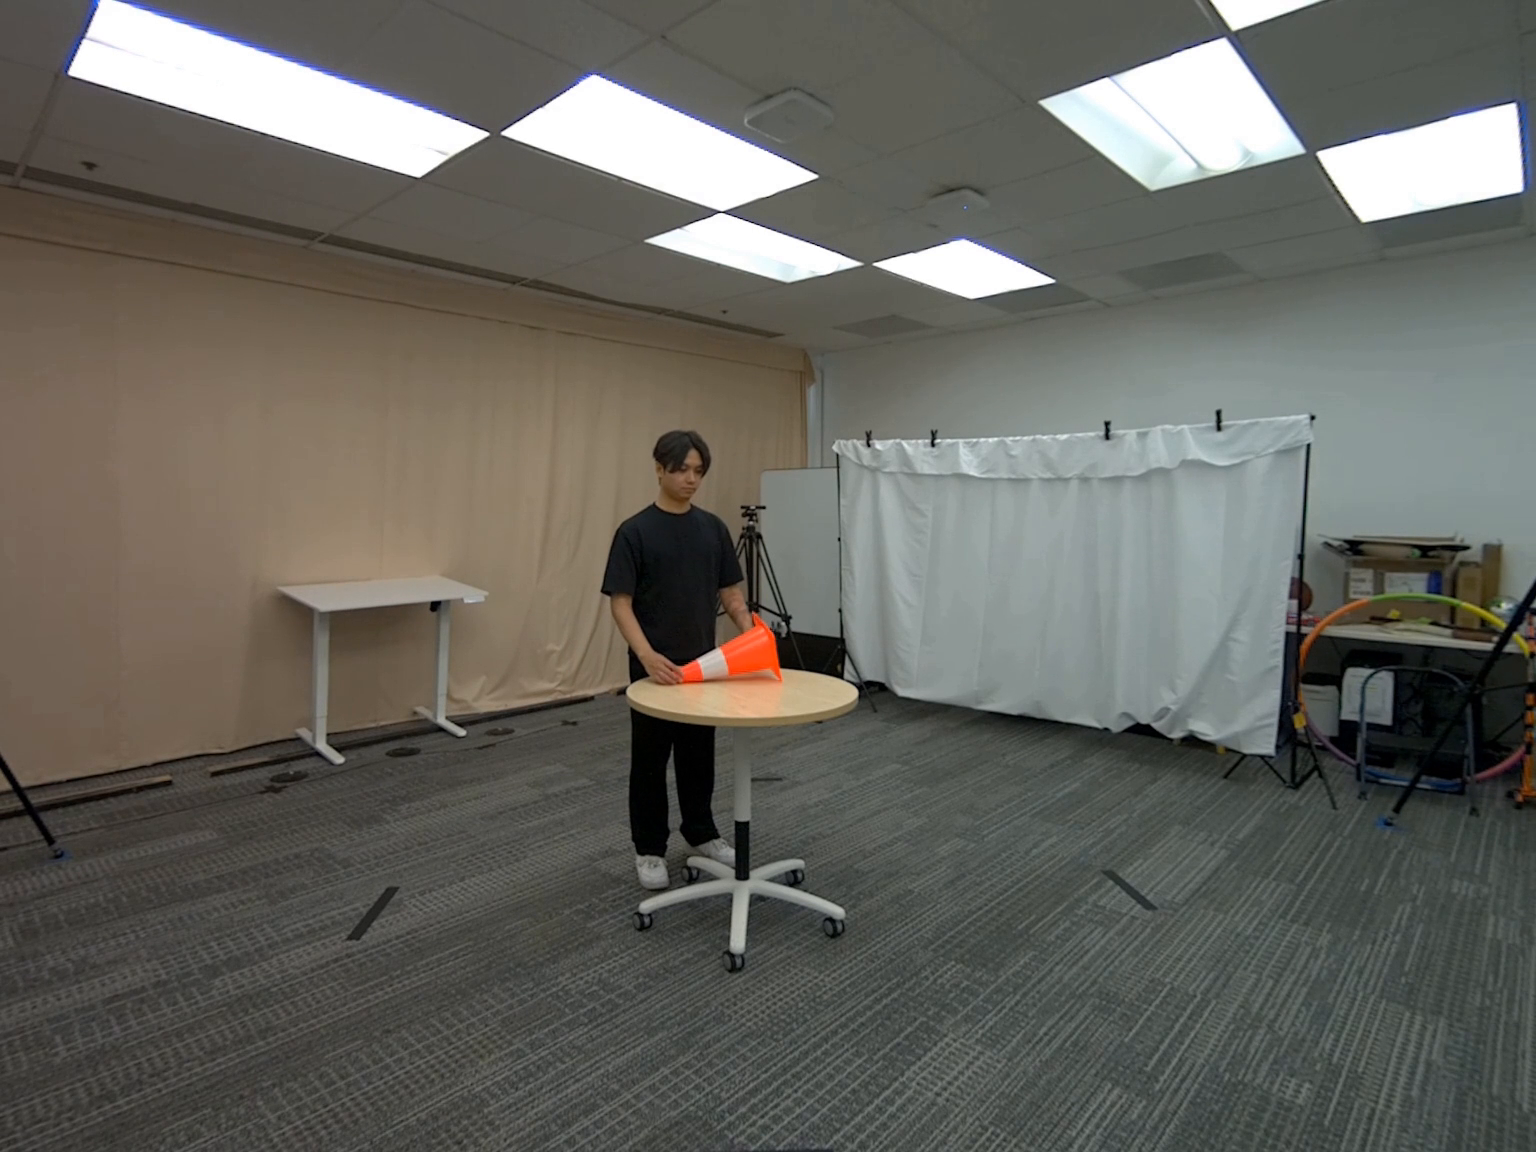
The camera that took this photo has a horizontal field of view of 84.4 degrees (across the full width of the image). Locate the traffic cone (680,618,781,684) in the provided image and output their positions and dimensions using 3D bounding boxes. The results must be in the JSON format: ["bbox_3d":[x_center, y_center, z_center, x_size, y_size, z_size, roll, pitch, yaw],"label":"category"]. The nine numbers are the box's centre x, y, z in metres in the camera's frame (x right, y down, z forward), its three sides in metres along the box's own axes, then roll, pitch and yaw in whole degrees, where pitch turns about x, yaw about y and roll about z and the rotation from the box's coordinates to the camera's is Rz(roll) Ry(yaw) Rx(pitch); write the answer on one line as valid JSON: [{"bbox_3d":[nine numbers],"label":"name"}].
[{"bbox_3d":[-0.182,0.305,2.928,0.380,0.200,0.211,-18,23,-12],"label":"traffic cone"}]
